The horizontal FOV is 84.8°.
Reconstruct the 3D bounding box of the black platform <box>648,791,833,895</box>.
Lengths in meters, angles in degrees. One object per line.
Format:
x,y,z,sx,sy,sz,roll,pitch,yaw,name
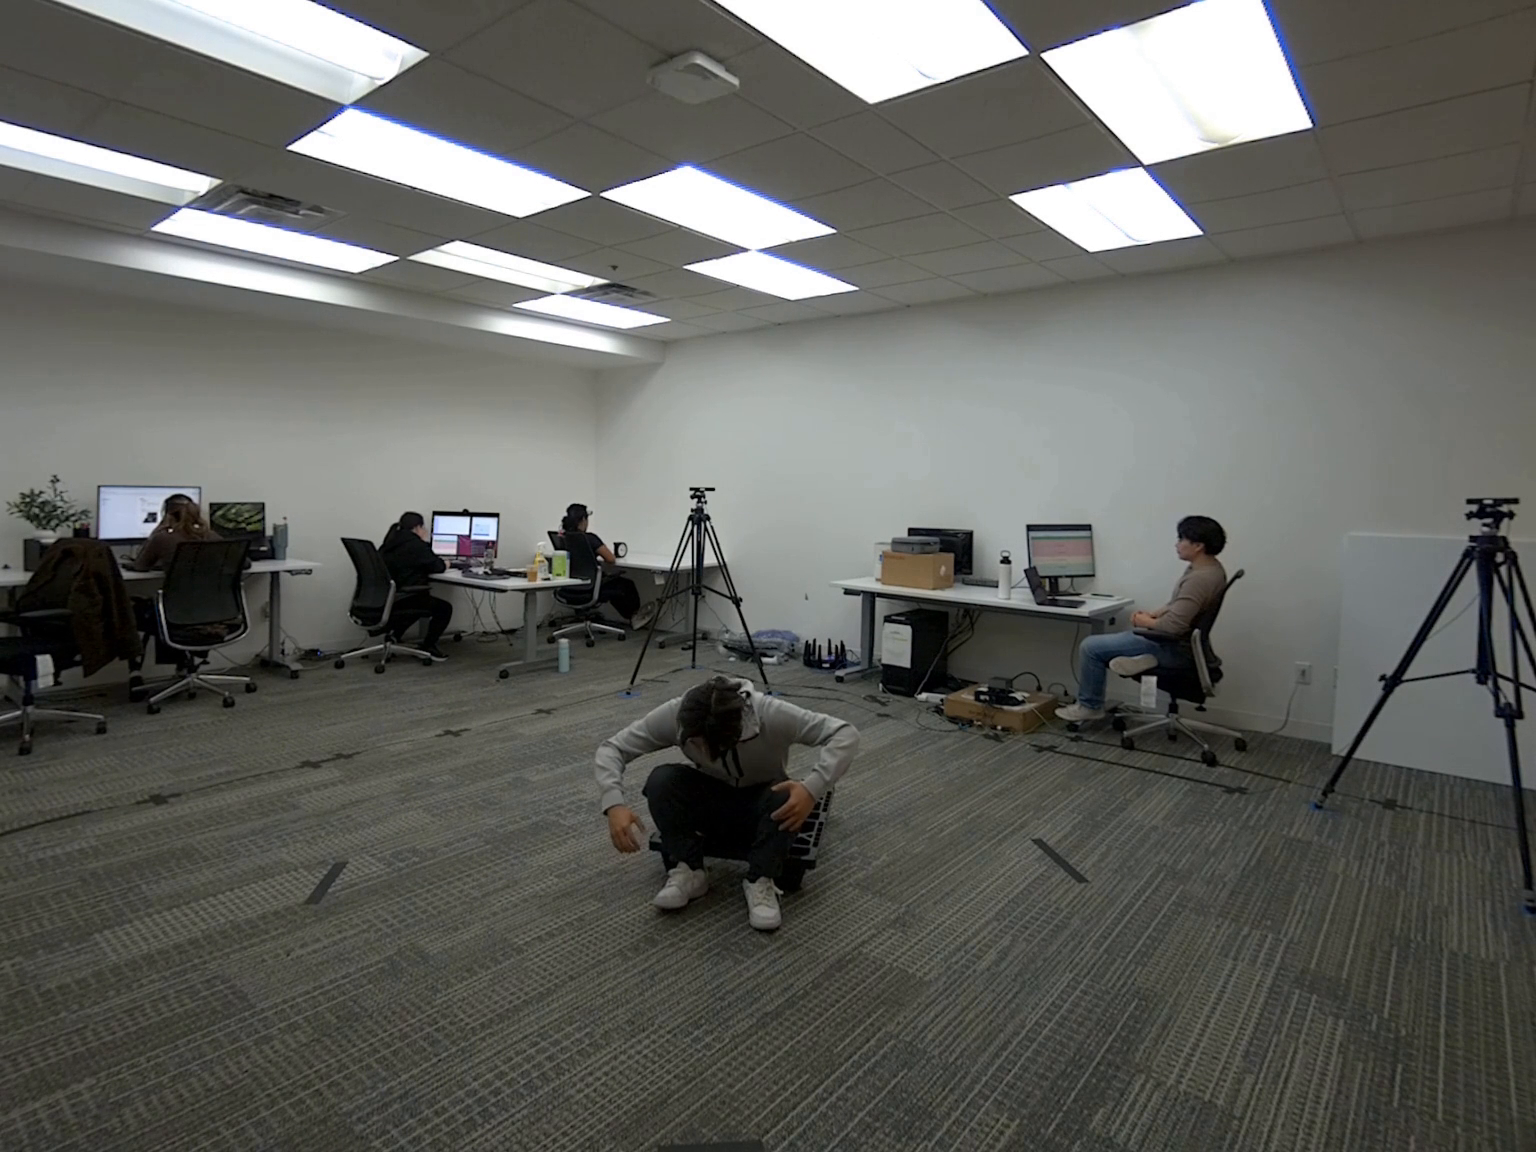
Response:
-0.078,0.973,3.344,0.613,0.143,0.799,1,6,10,black platform
